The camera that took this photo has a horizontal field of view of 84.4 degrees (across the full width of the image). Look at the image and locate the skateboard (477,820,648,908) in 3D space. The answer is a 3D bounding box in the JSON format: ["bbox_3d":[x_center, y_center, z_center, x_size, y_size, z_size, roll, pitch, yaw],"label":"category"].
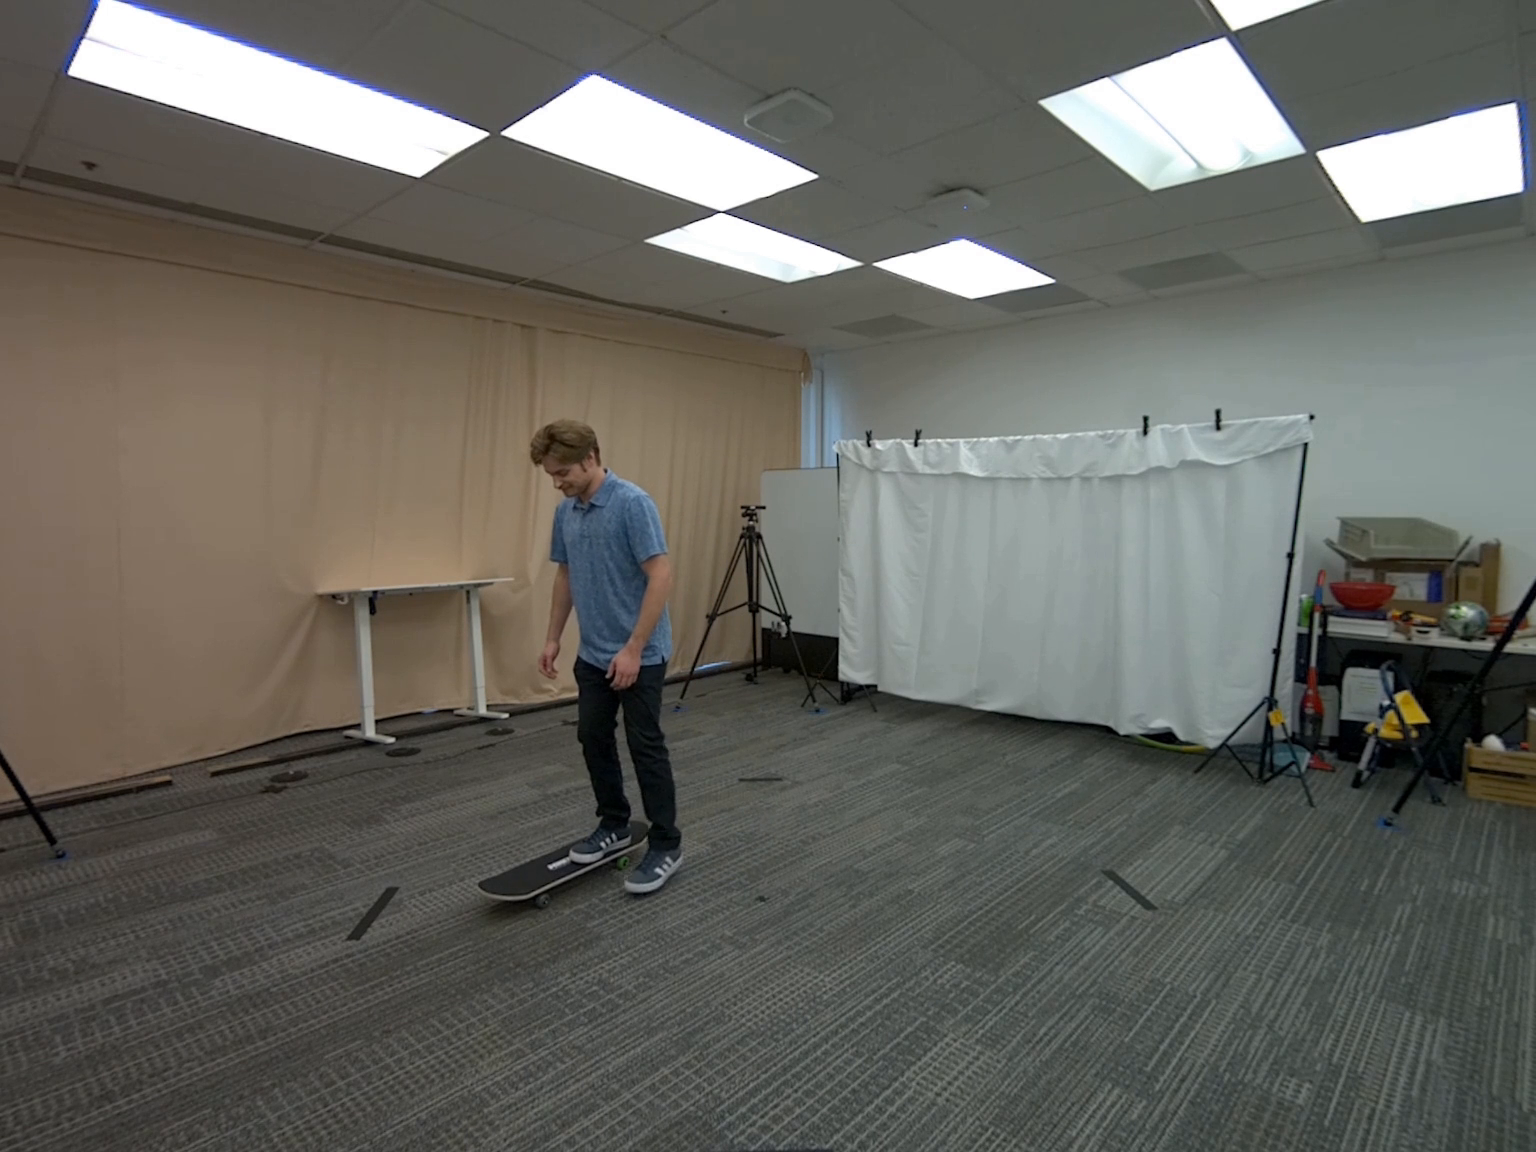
[{"bbox_3d":[-0.736,1.083,3.128,0.200,0.110,0.763,6,7,35],"label":"skateboard"}]
